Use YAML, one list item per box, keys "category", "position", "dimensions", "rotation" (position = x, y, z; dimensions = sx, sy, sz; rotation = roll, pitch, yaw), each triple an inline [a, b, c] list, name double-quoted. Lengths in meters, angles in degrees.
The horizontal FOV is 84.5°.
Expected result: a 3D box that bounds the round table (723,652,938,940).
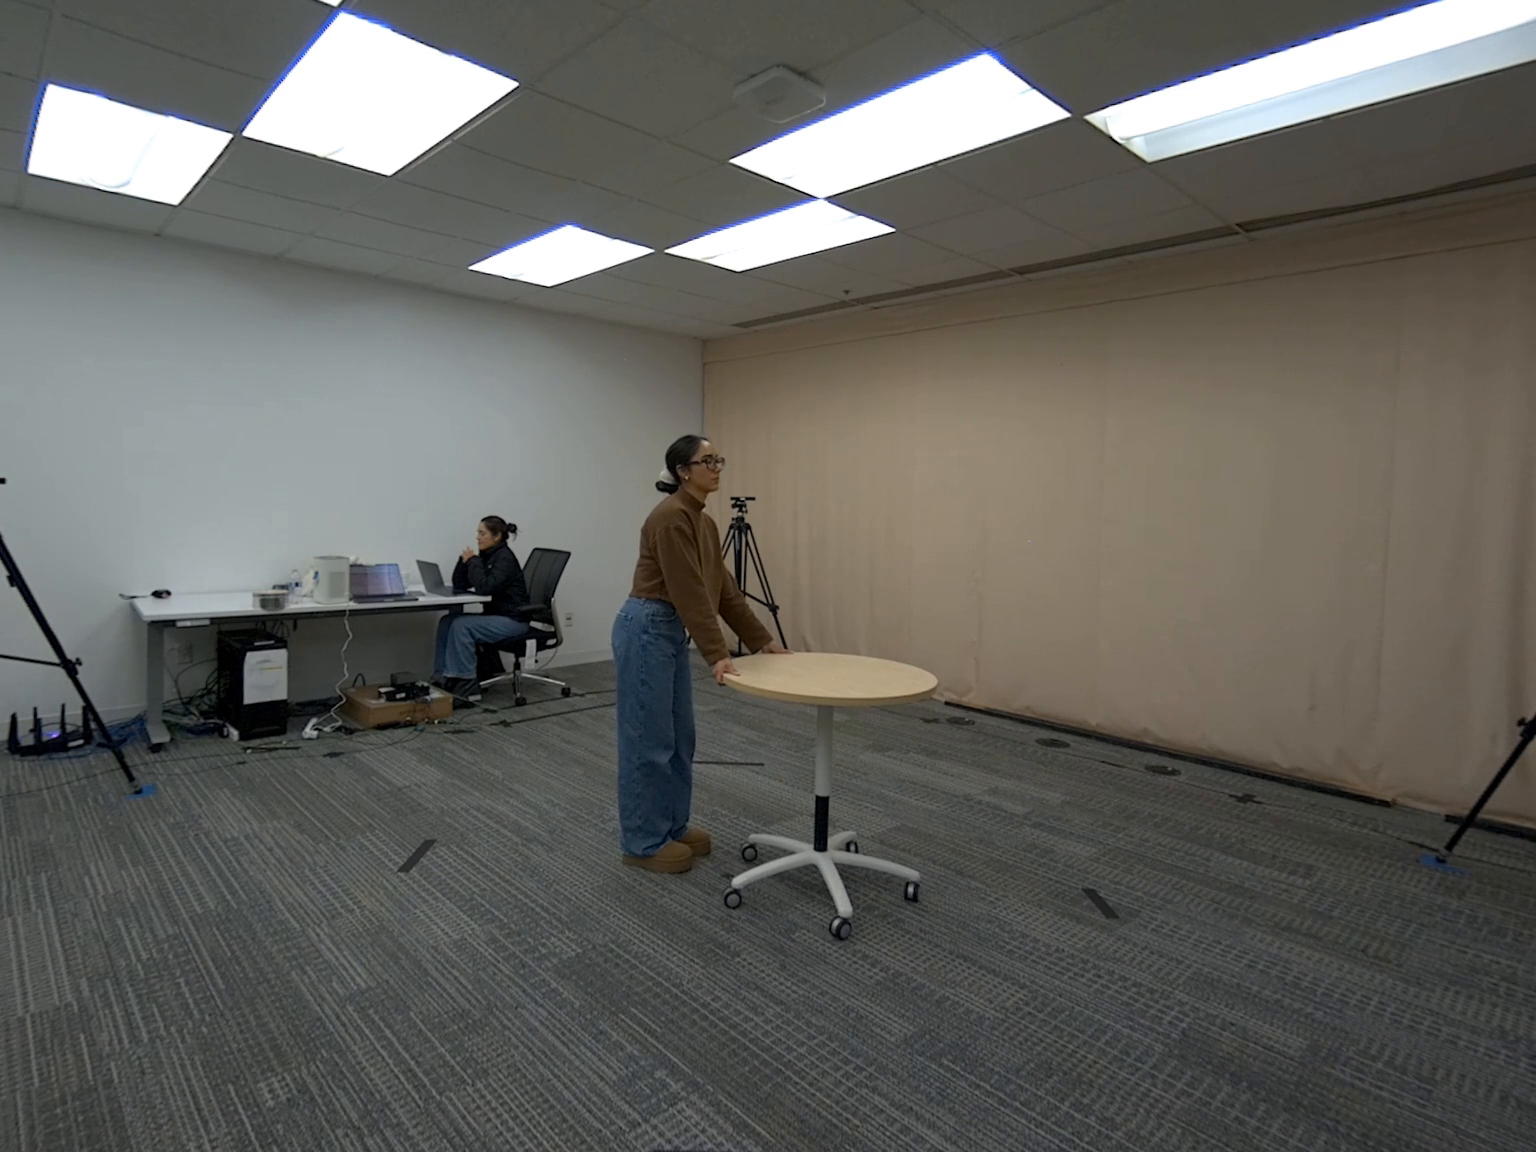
- category: "round table"
  position: [0.172, 0.731, 3.001]
  dimensions: [0.784, 0.785, 0.787]
  rotation: [2, 4, -2]
